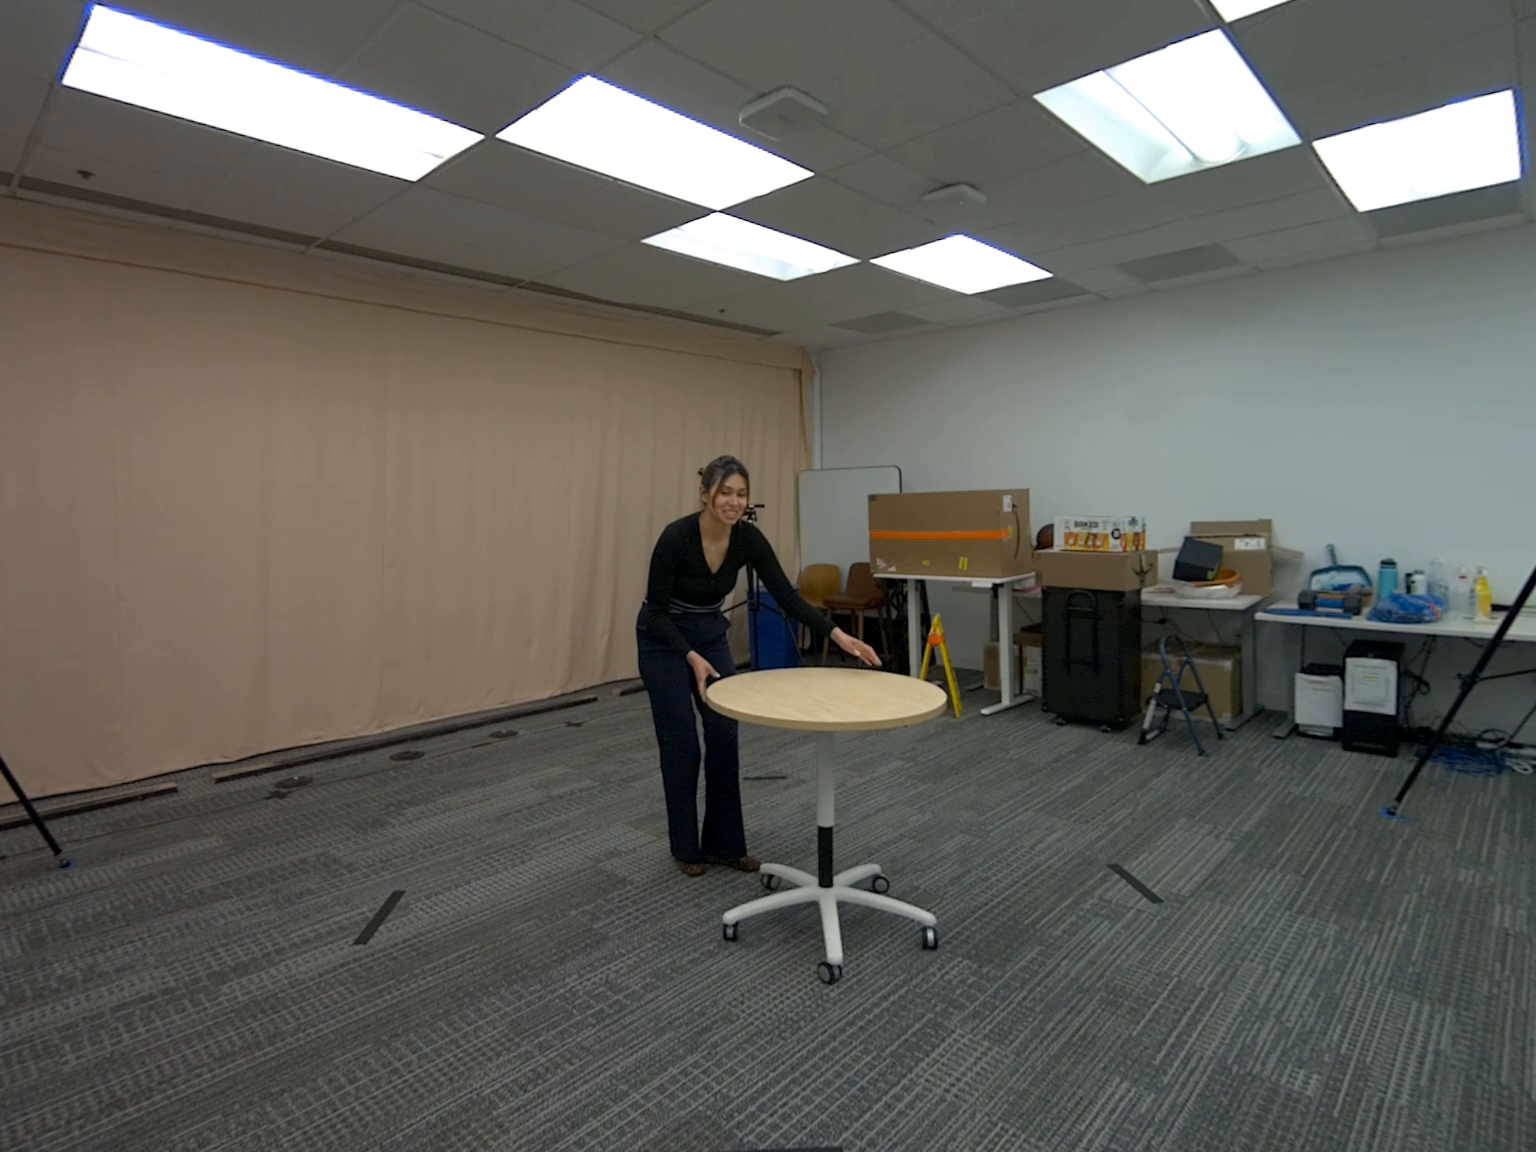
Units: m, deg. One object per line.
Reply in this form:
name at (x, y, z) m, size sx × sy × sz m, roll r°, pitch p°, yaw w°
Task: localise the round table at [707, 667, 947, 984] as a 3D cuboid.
round table at (0.202, 0.767, 2.748) m, size 0.763 × 0.792 × 0.767 m, roll -1°, pitch 4°, yaw -2°
